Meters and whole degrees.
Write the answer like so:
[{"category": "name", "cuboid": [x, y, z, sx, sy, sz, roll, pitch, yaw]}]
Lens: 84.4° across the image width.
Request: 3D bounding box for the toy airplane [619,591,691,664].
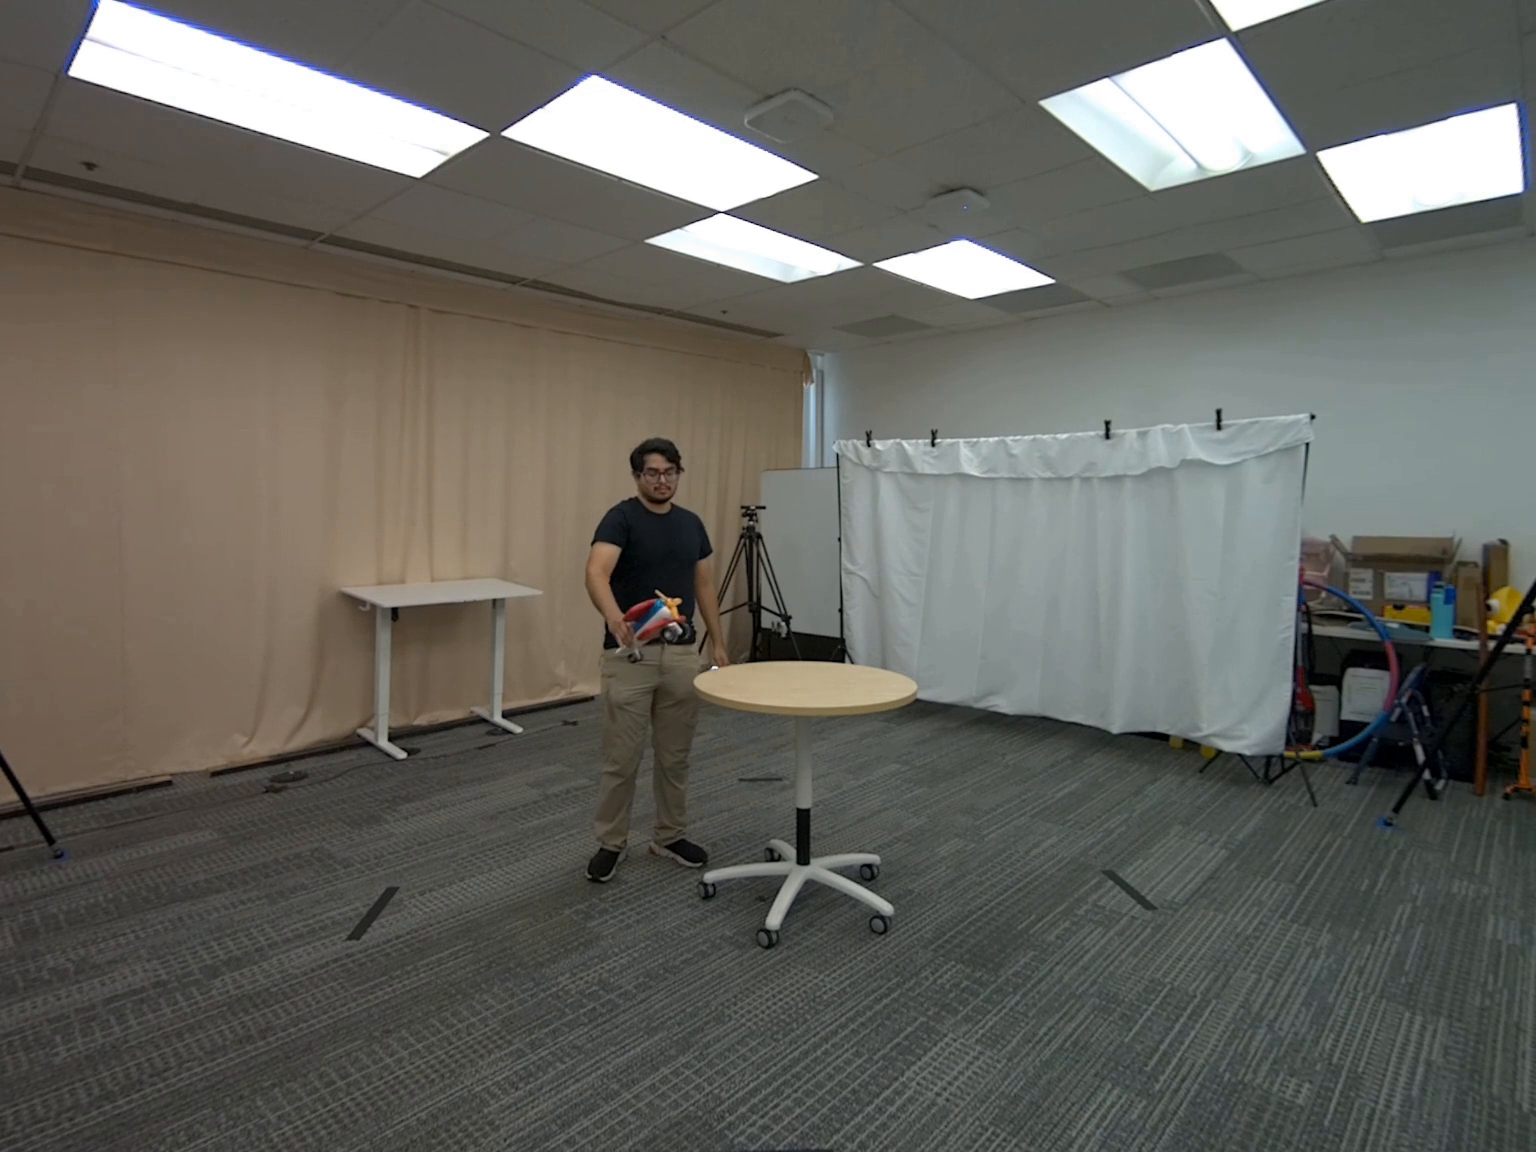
[{"category": "toy airplane", "cuboid": [-0.388, 0.180, 2.743, 0.259, 0.158, 0.249, -24, -8, -3]}]
